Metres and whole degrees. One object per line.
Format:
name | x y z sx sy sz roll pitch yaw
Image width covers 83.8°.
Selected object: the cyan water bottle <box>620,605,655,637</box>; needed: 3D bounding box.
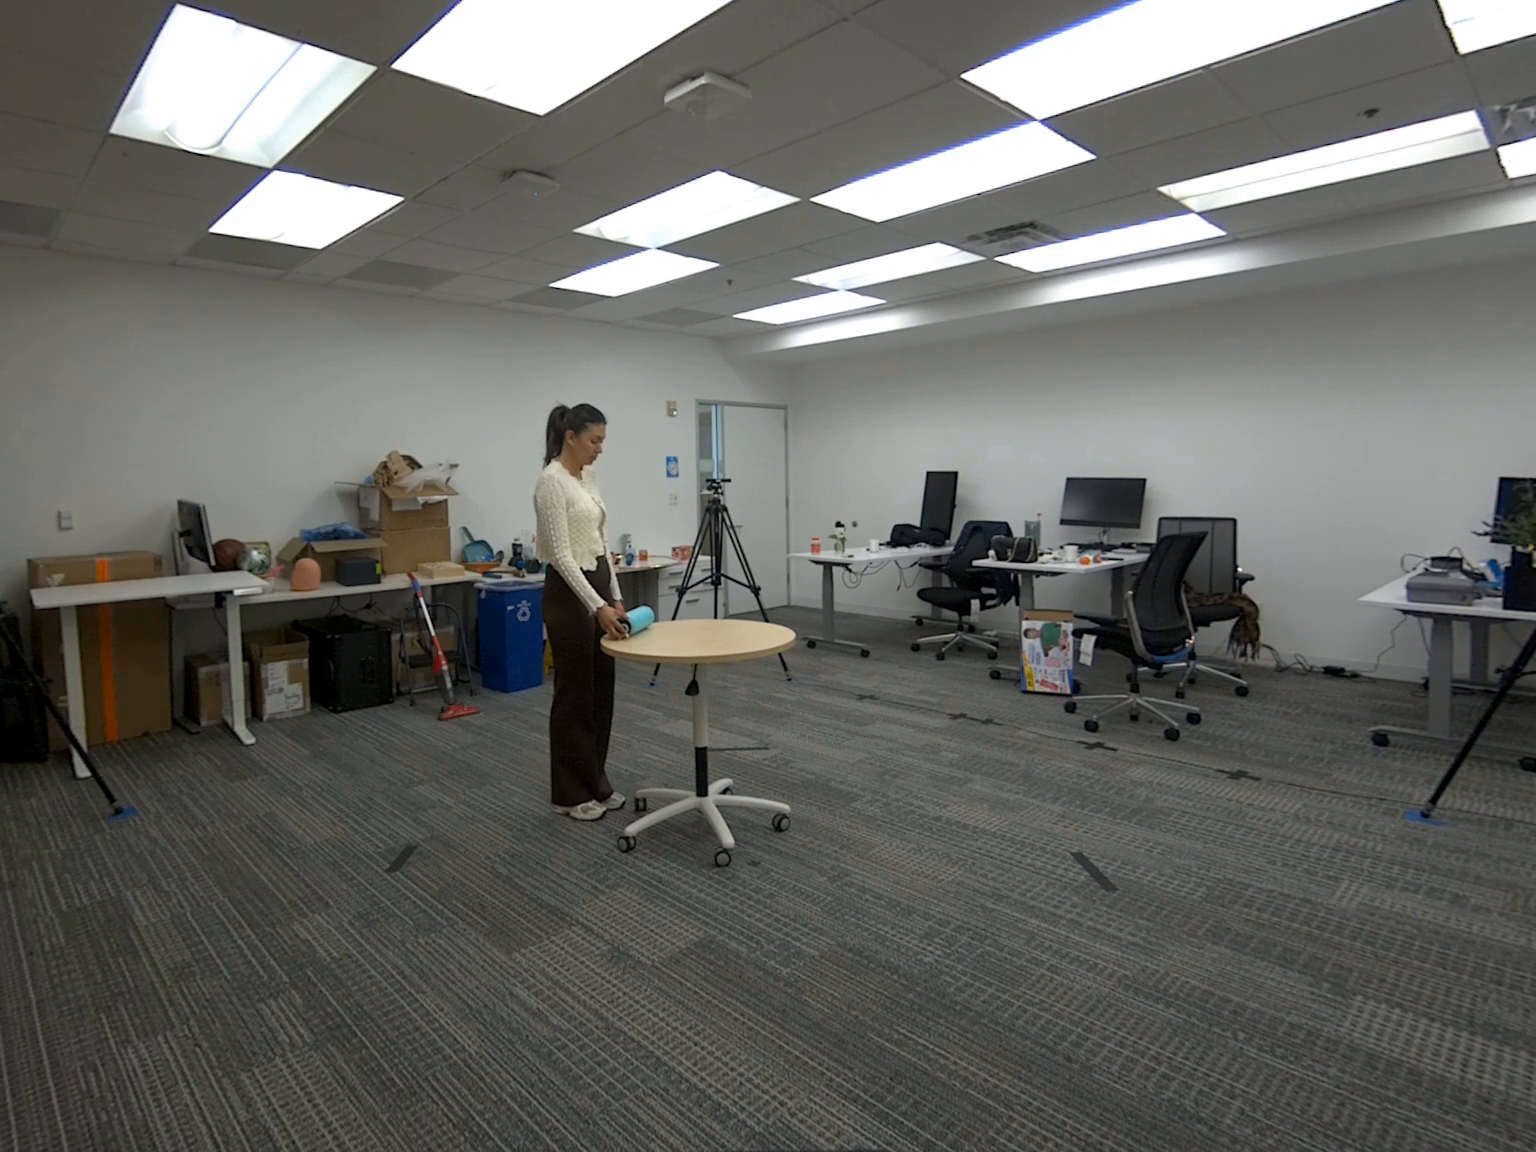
cyan water bottle | -0.552 0.185 3.457 0.093 0.092 0.281 0 7 11
